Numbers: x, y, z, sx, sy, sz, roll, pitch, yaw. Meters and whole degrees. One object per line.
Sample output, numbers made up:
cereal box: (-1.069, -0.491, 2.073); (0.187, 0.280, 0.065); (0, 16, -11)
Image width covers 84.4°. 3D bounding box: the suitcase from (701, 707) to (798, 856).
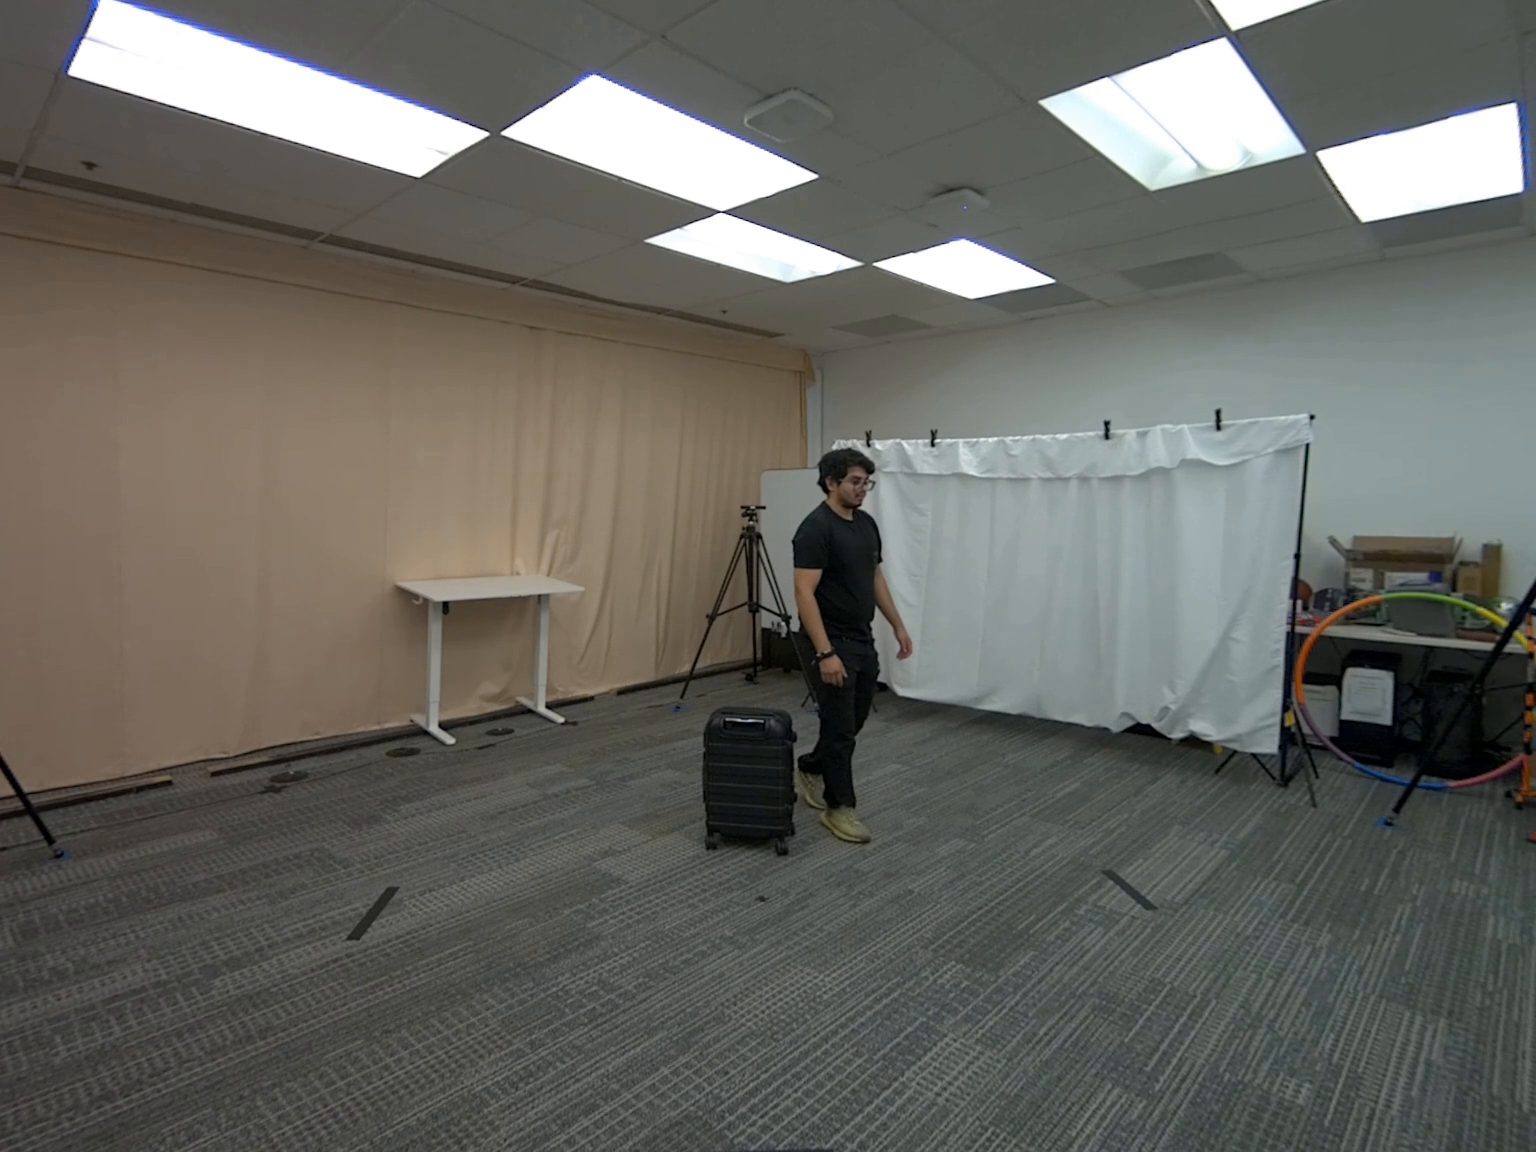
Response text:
suitcase: (-0.078, 0.825, 3.499); (0.380, 0.549, 0.245); (0, 1, 11)
